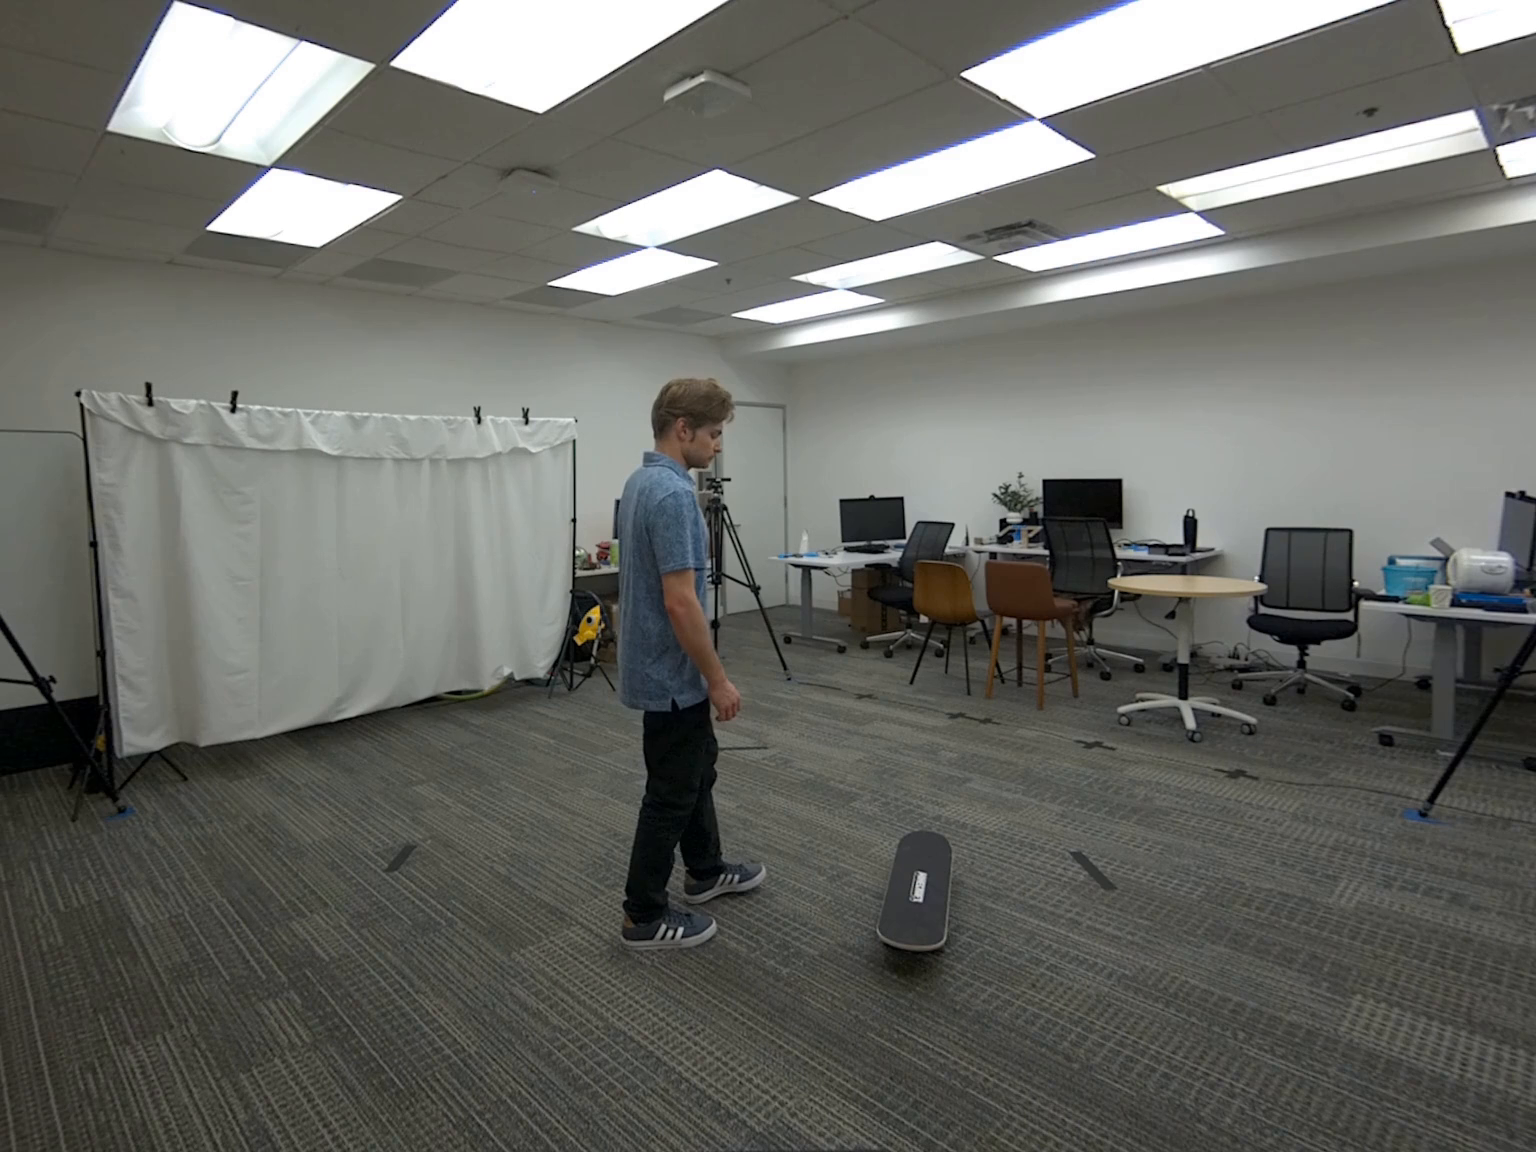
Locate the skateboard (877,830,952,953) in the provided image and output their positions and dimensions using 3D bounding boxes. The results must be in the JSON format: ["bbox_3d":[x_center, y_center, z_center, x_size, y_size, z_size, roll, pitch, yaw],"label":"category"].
[{"bbox_3d":[0.481,1.019,2.728,0.196,0.110,0.778,1,7,13],"label":"skateboard"}]
